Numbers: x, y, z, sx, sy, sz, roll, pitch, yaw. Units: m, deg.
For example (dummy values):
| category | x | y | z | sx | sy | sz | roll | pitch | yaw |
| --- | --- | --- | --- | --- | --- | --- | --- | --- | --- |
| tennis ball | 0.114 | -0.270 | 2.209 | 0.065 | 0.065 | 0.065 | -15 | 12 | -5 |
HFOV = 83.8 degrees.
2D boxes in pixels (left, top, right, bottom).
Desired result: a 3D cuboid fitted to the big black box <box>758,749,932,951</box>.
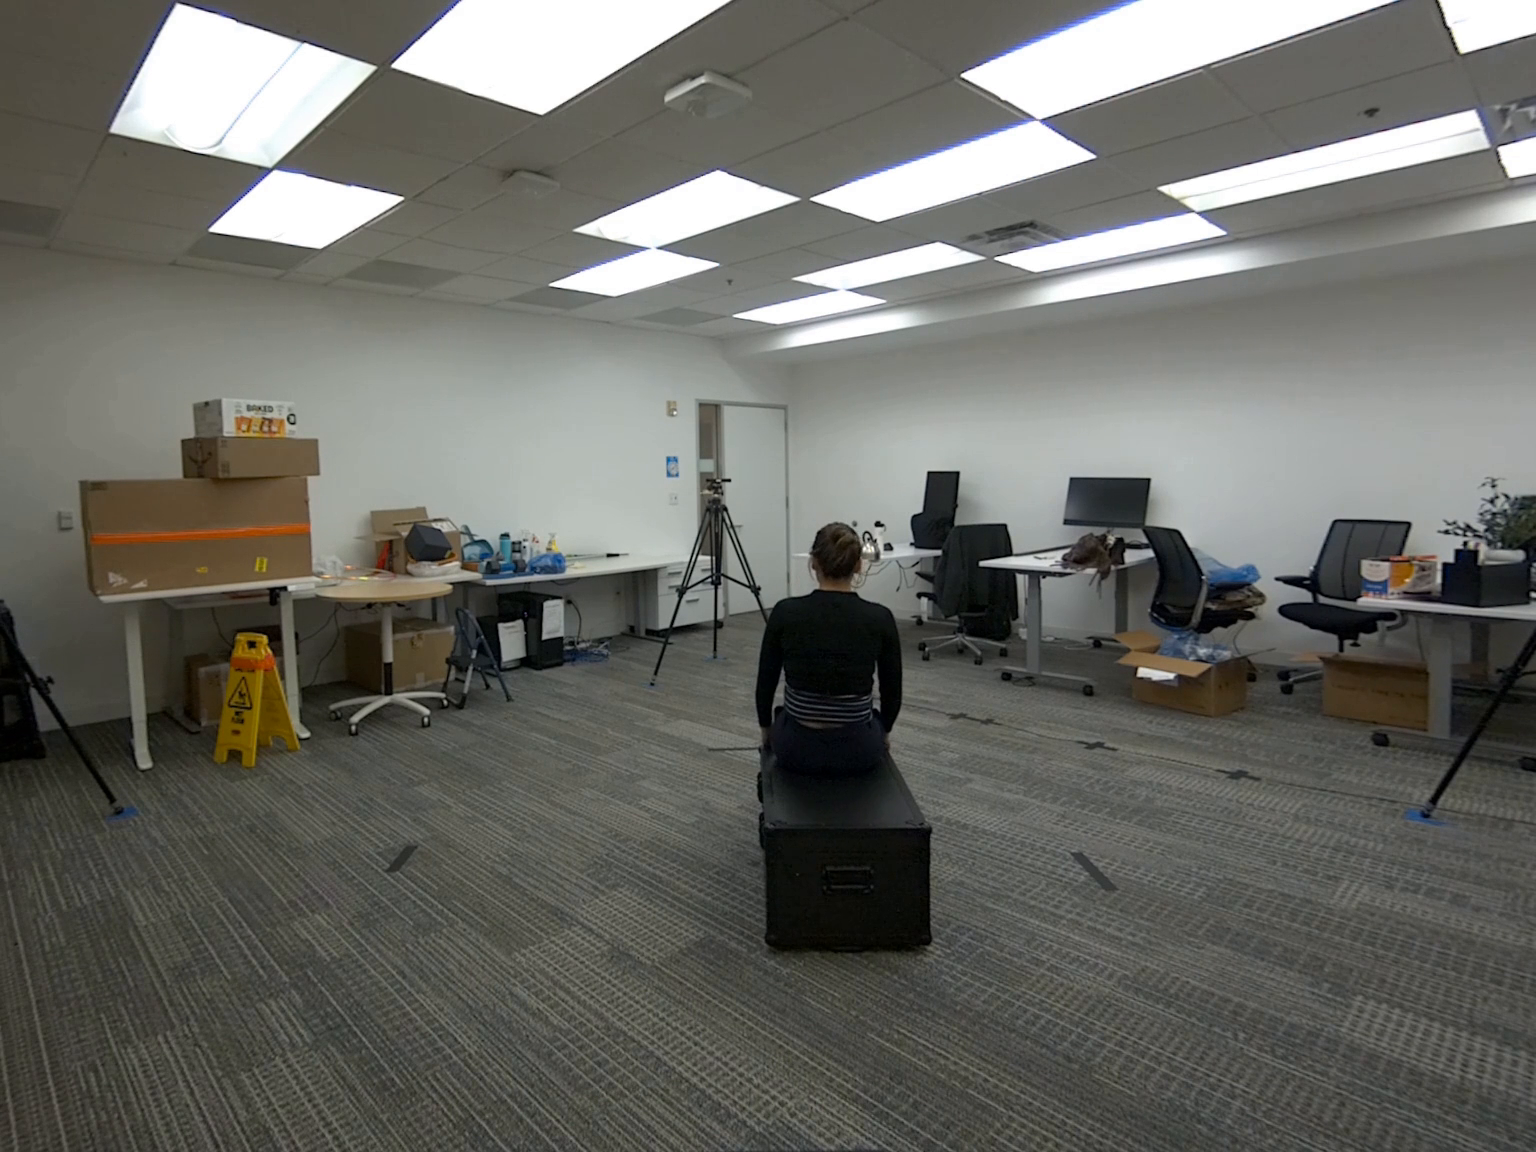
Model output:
| category | x | y | z | sx | sy | sz | roll | pitch | yaw |
| --- | --- | --- | --- | --- | --- | --- | --- | --- | --- |
| big black box | 0.228 | 0.870 | 2.910 | 0.521 | 0.395 | 0.864 | -1 | 5 | -1 |
